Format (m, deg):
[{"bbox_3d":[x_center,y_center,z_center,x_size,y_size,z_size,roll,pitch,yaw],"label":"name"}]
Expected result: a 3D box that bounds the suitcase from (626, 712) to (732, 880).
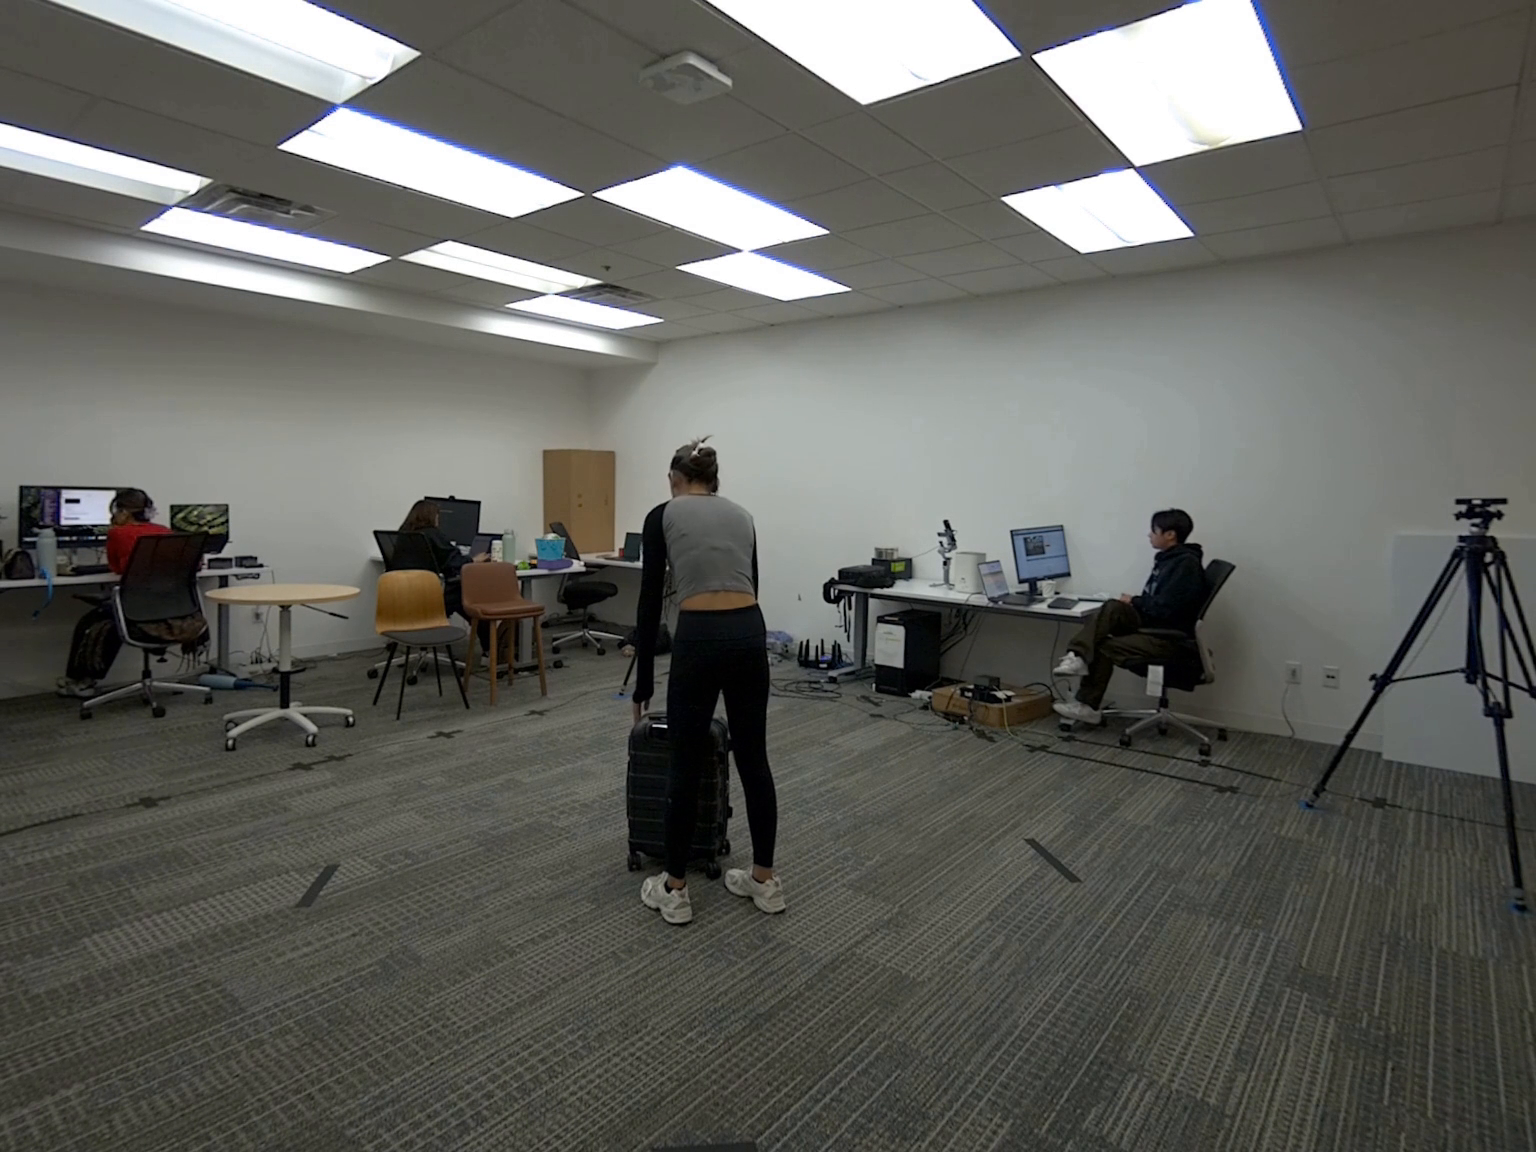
[{"bbox_3d":[-0.345,0.785,3.186,0.381,0.549,0.245,1,1,12],"label":"suitcase"}]
